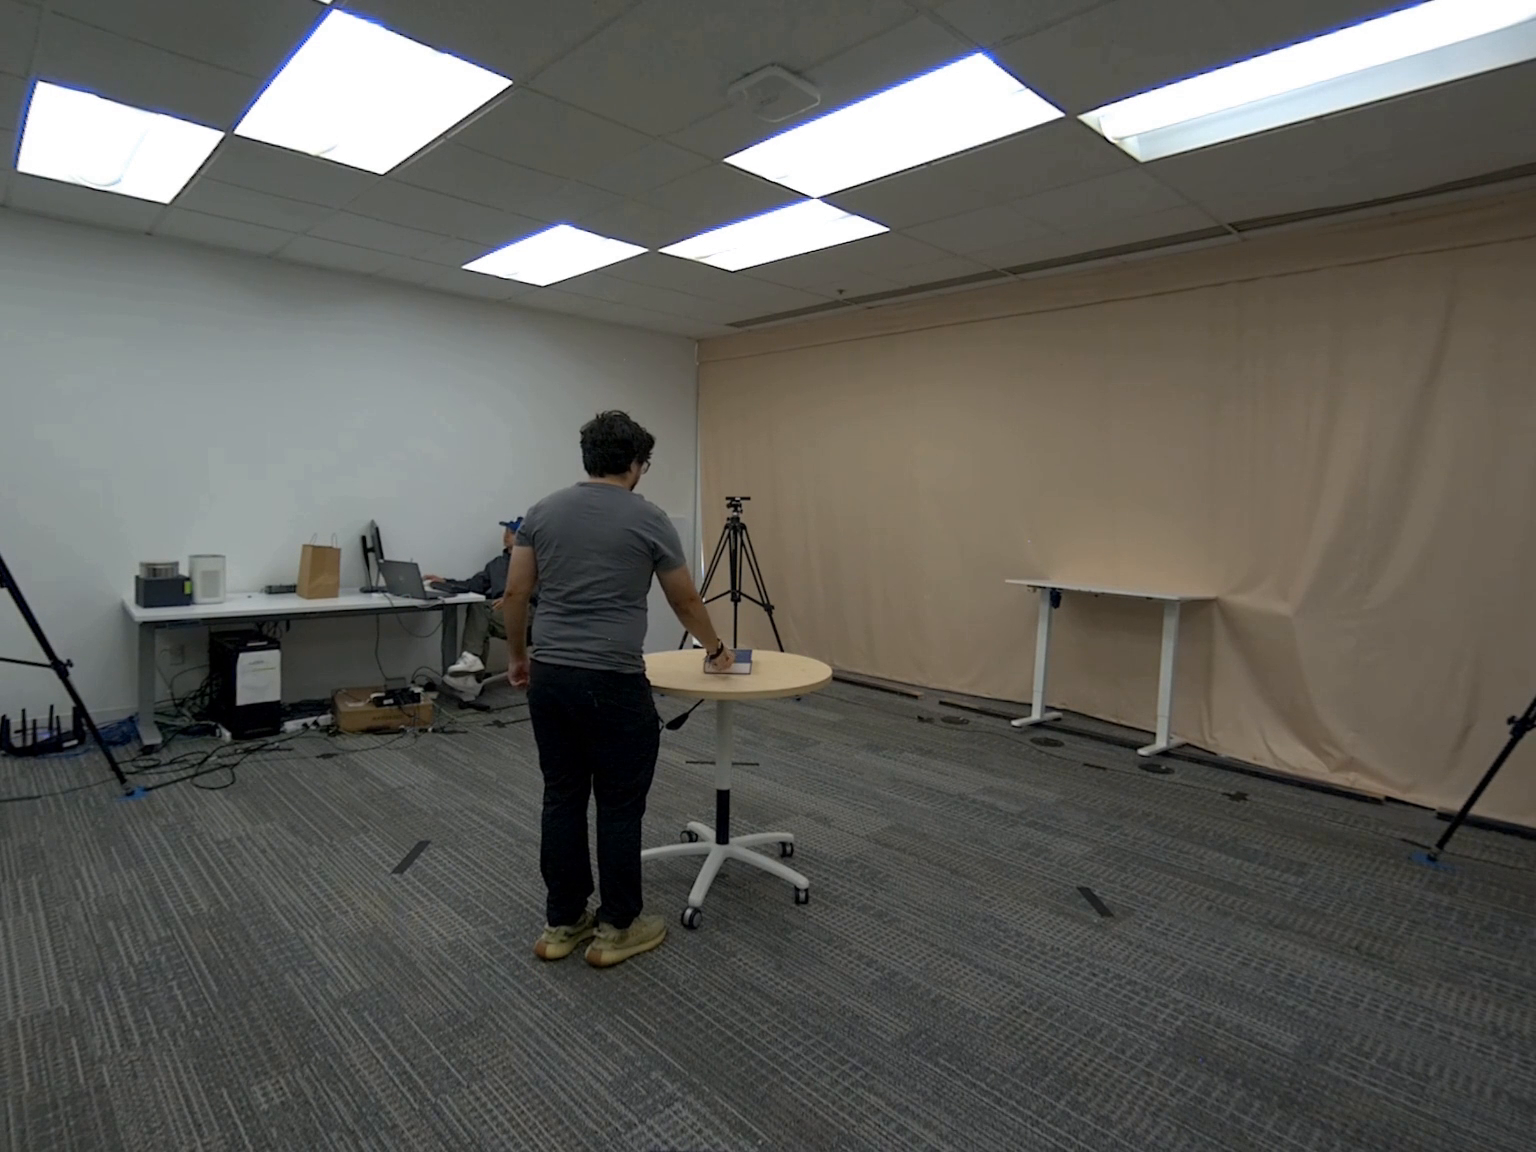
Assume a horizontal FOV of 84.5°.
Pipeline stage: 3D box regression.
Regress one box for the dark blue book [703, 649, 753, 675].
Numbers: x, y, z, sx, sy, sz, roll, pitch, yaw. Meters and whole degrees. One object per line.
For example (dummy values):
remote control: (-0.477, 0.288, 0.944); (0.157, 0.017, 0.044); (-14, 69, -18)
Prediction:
dark blue book: (-0.154, 0.310, 3.037); (0.164, 0.045, 0.245); (2, 6, 1)
